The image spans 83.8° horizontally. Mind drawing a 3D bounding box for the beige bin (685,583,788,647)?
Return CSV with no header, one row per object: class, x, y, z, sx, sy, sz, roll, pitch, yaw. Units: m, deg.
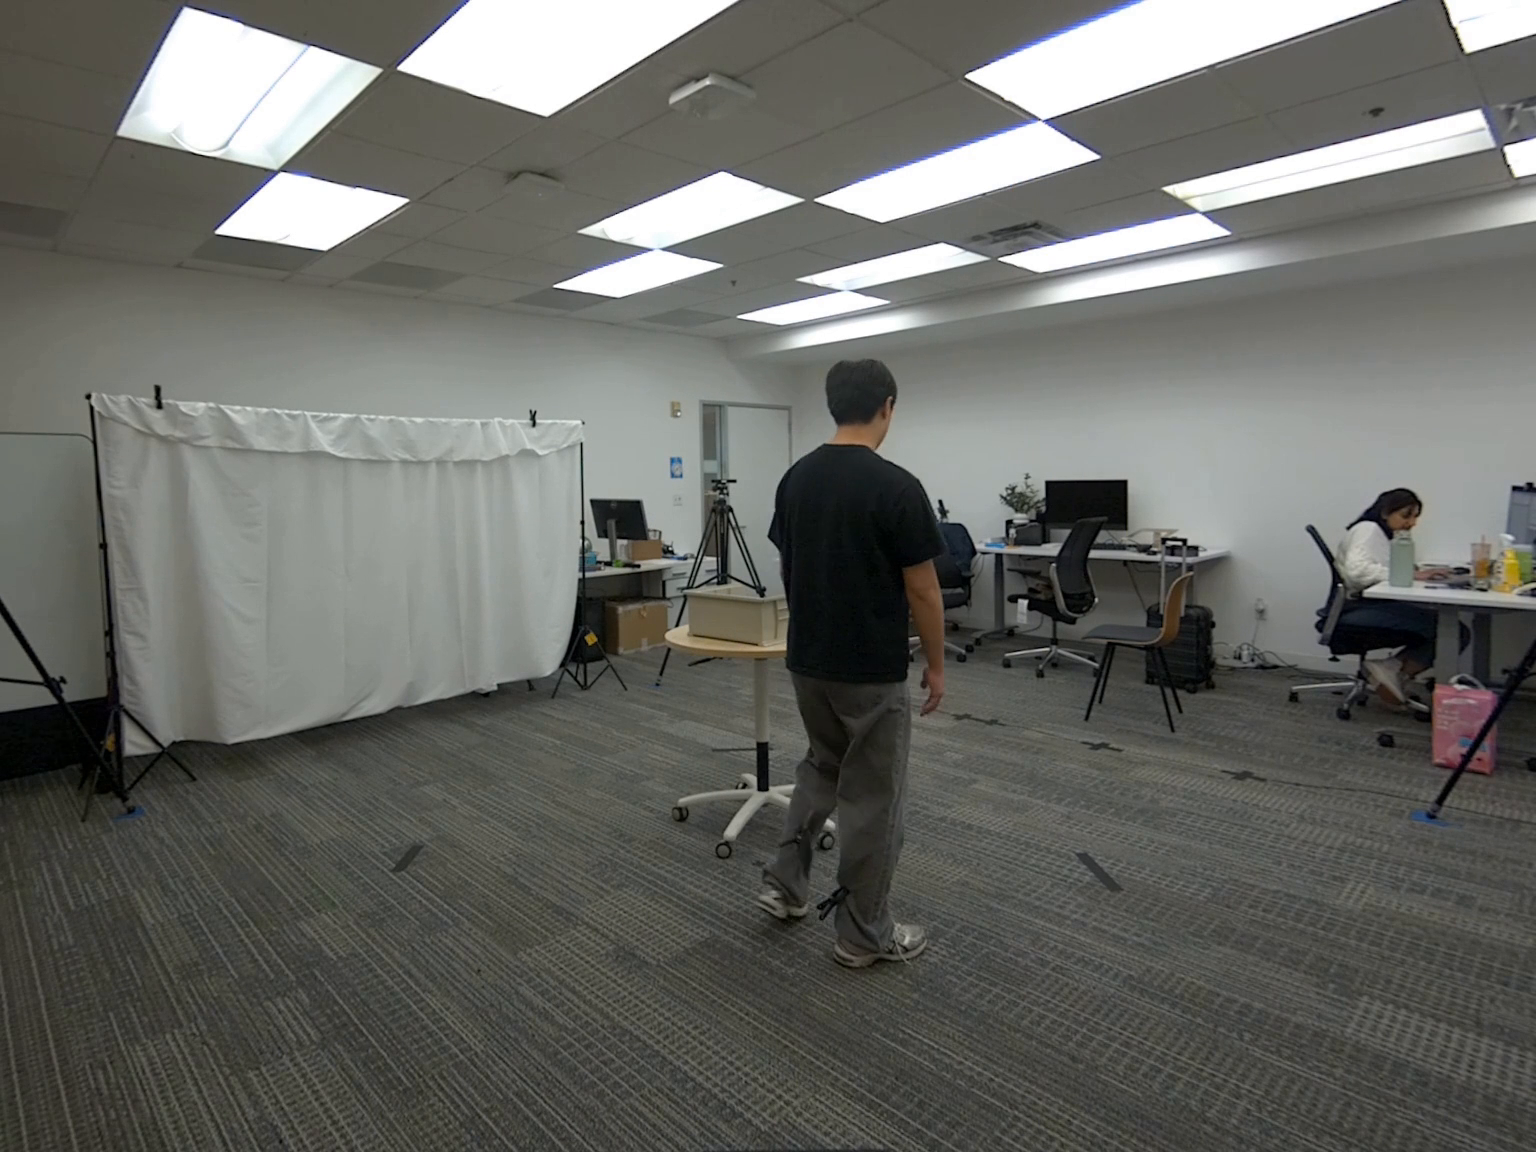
beige bin,-0.052,0.145,3.377,0.435,0.188,0.368,4,9,41
